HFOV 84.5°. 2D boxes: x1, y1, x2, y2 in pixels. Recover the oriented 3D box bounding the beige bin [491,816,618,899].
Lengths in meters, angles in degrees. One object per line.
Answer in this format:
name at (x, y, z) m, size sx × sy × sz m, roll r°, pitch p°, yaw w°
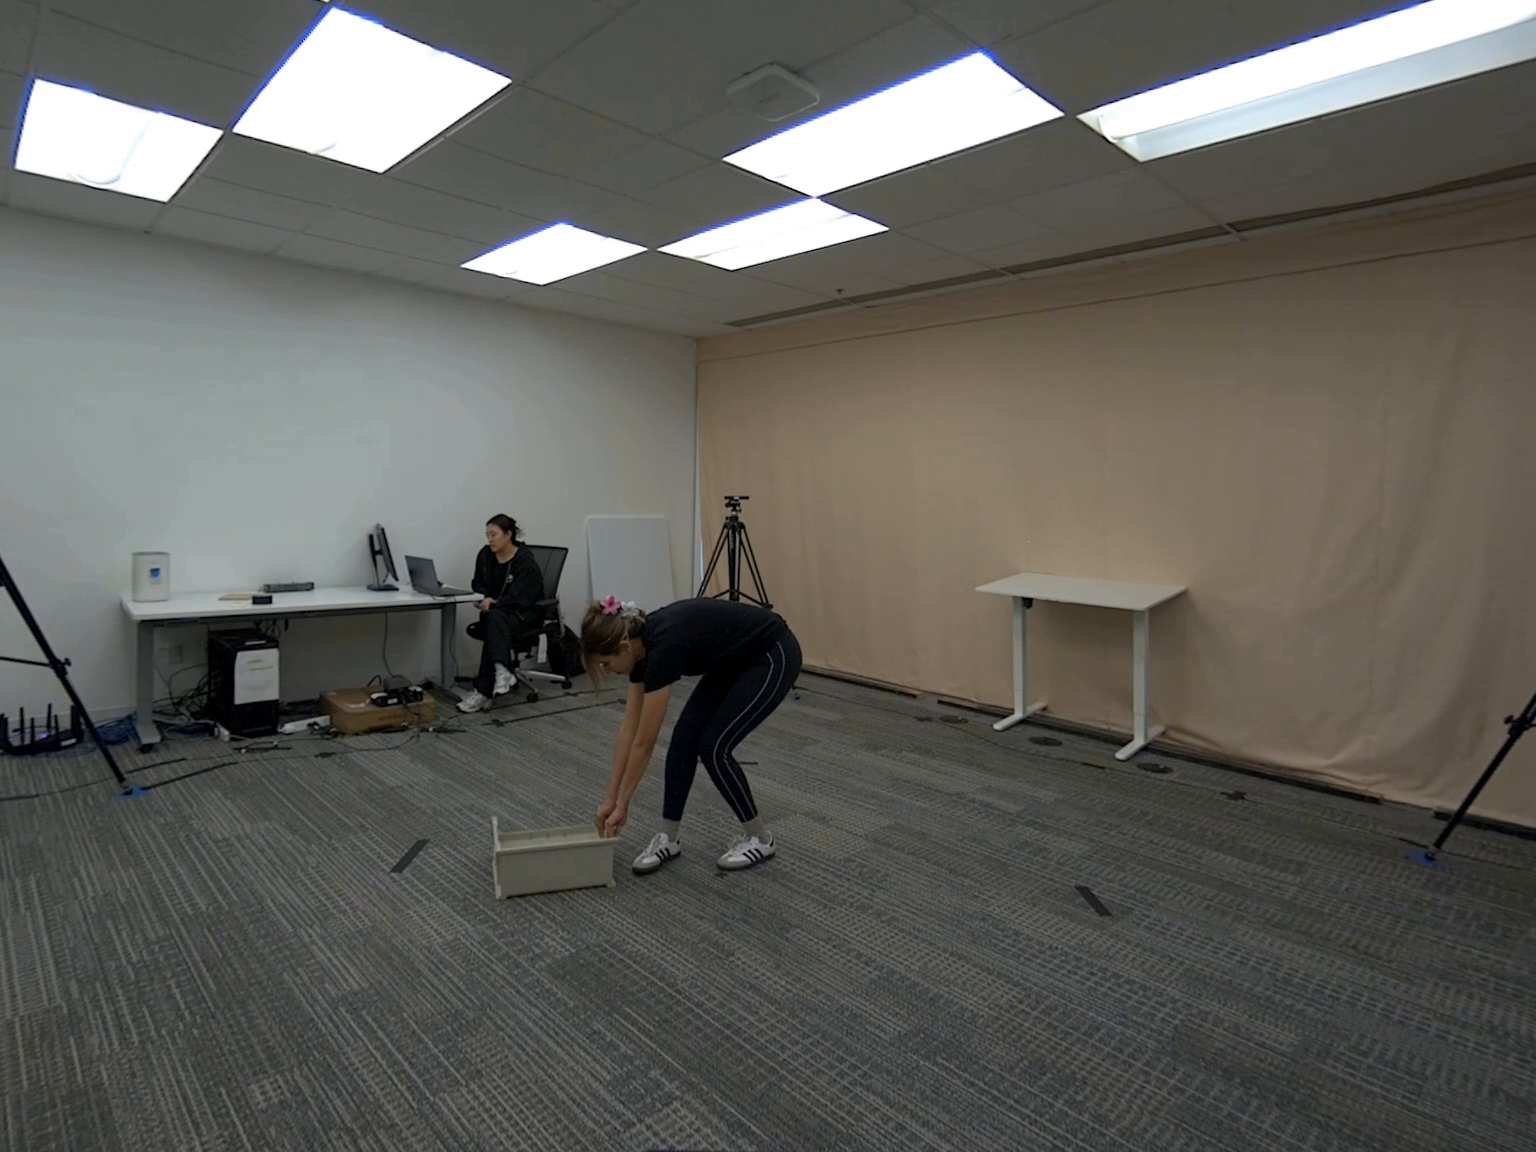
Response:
beige bin at (-0.798, 1.004, 3.081) m, size 0.416 × 0.188 × 0.384 m, roll 1°, pitch 5°, yaw -20°
